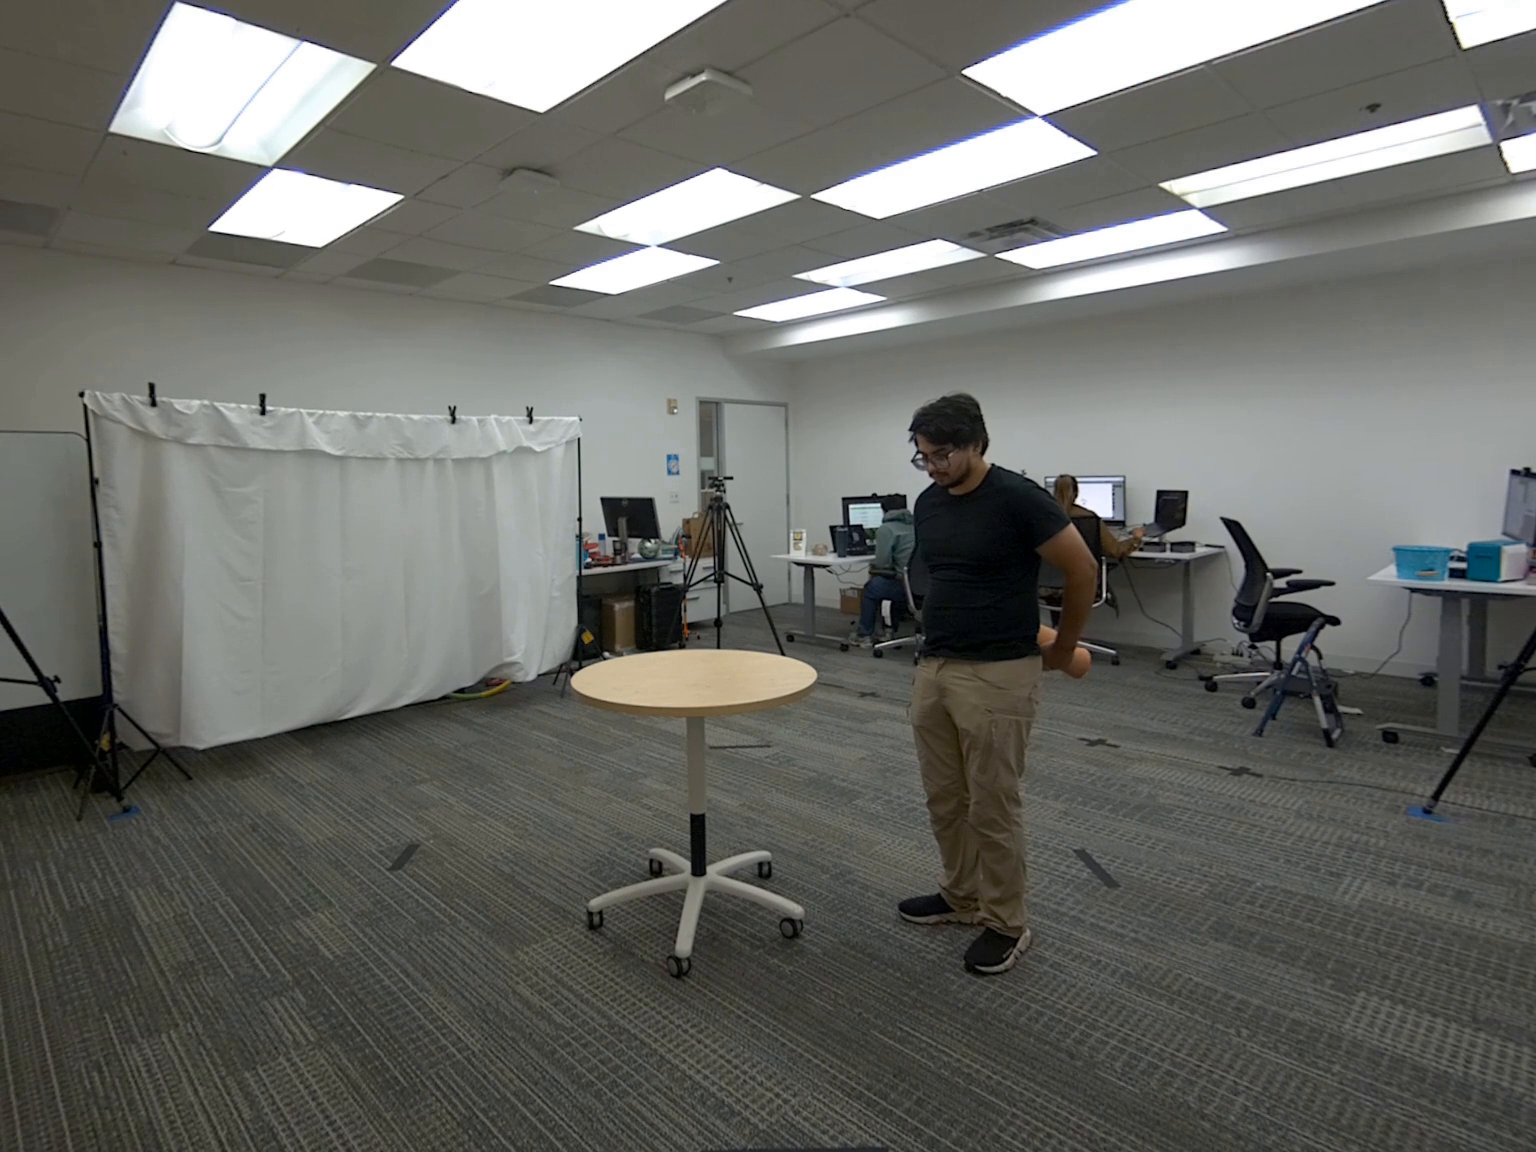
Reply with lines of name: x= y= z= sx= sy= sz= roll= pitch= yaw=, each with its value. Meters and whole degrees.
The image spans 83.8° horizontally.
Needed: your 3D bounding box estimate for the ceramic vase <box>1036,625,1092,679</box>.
ceramic vase: x=0.888 y=0.239 z=2.633 sx=0.217 sy=0.162 sz=0.133 roll=22 pitch=-41 yaw=-10
